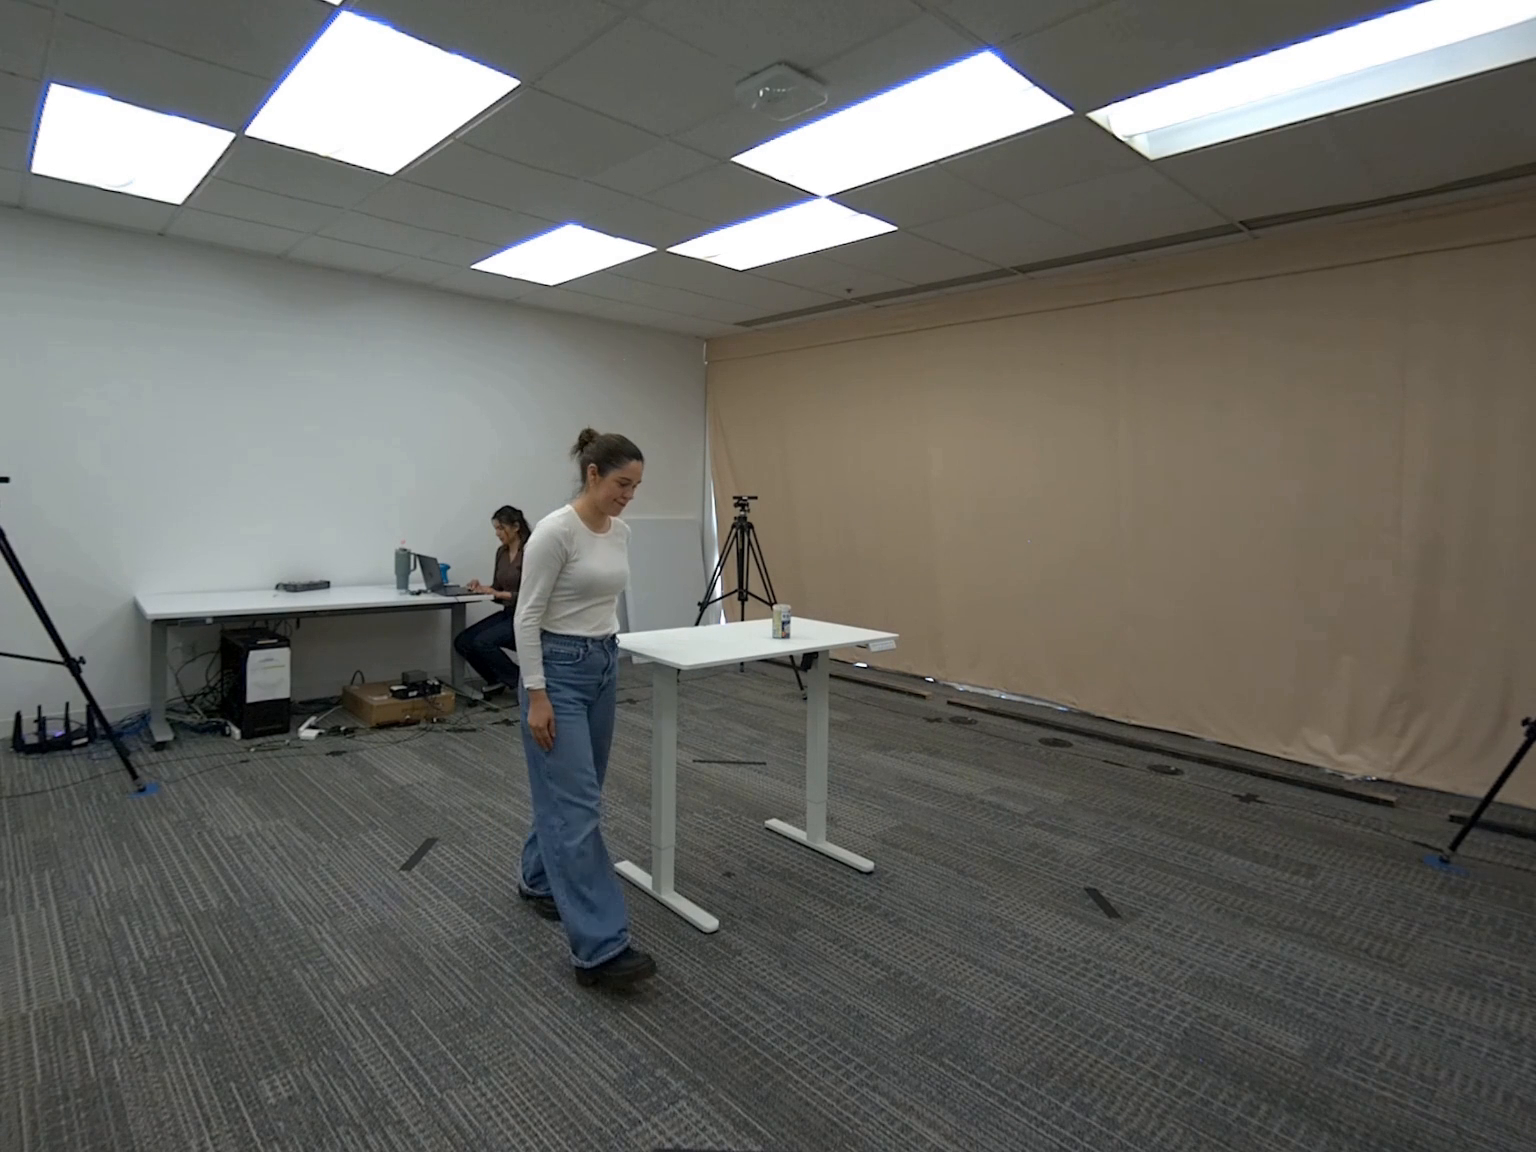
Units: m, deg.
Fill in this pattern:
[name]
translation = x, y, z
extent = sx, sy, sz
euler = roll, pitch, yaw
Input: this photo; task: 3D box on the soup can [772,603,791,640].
[soup can]
translation = 0.042, 0.172, 3.065
extent = 0.067, 0.121, 0.067
euler = 0, 5, -1
